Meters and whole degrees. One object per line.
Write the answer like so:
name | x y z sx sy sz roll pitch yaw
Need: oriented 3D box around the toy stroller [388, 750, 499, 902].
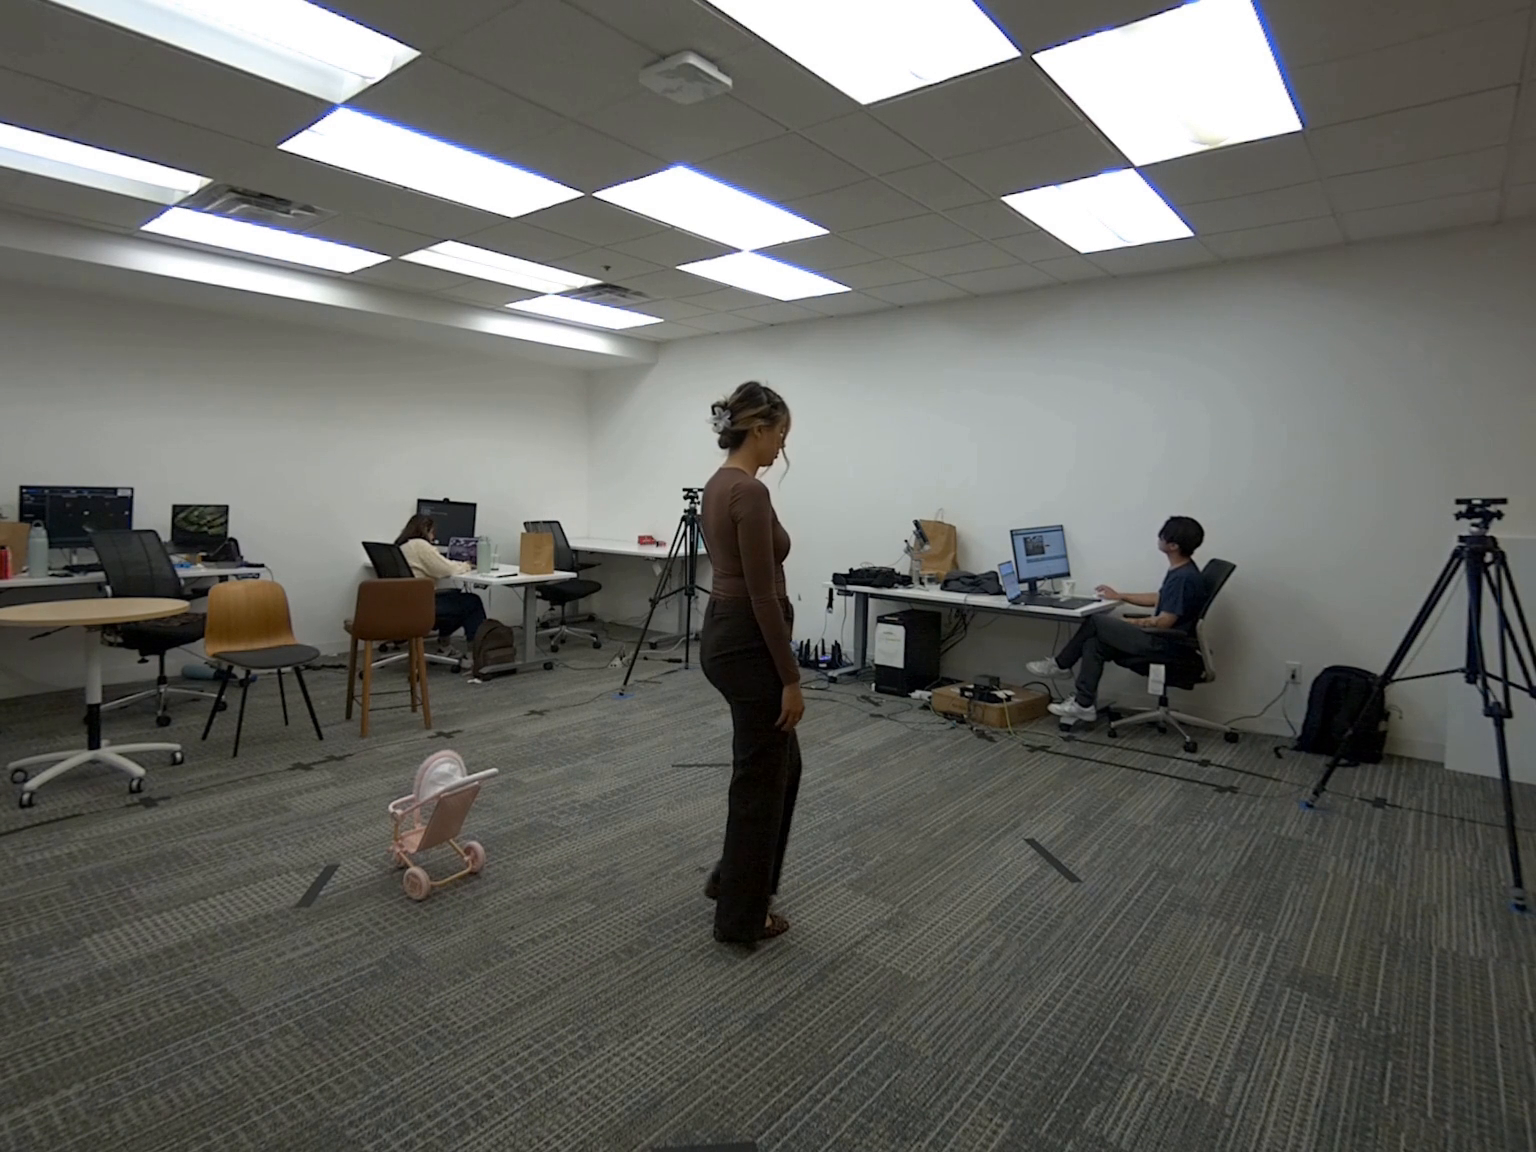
toy stroller | -1.178 0.846 2.975 0.354 0.530 0.273 24 15 33
